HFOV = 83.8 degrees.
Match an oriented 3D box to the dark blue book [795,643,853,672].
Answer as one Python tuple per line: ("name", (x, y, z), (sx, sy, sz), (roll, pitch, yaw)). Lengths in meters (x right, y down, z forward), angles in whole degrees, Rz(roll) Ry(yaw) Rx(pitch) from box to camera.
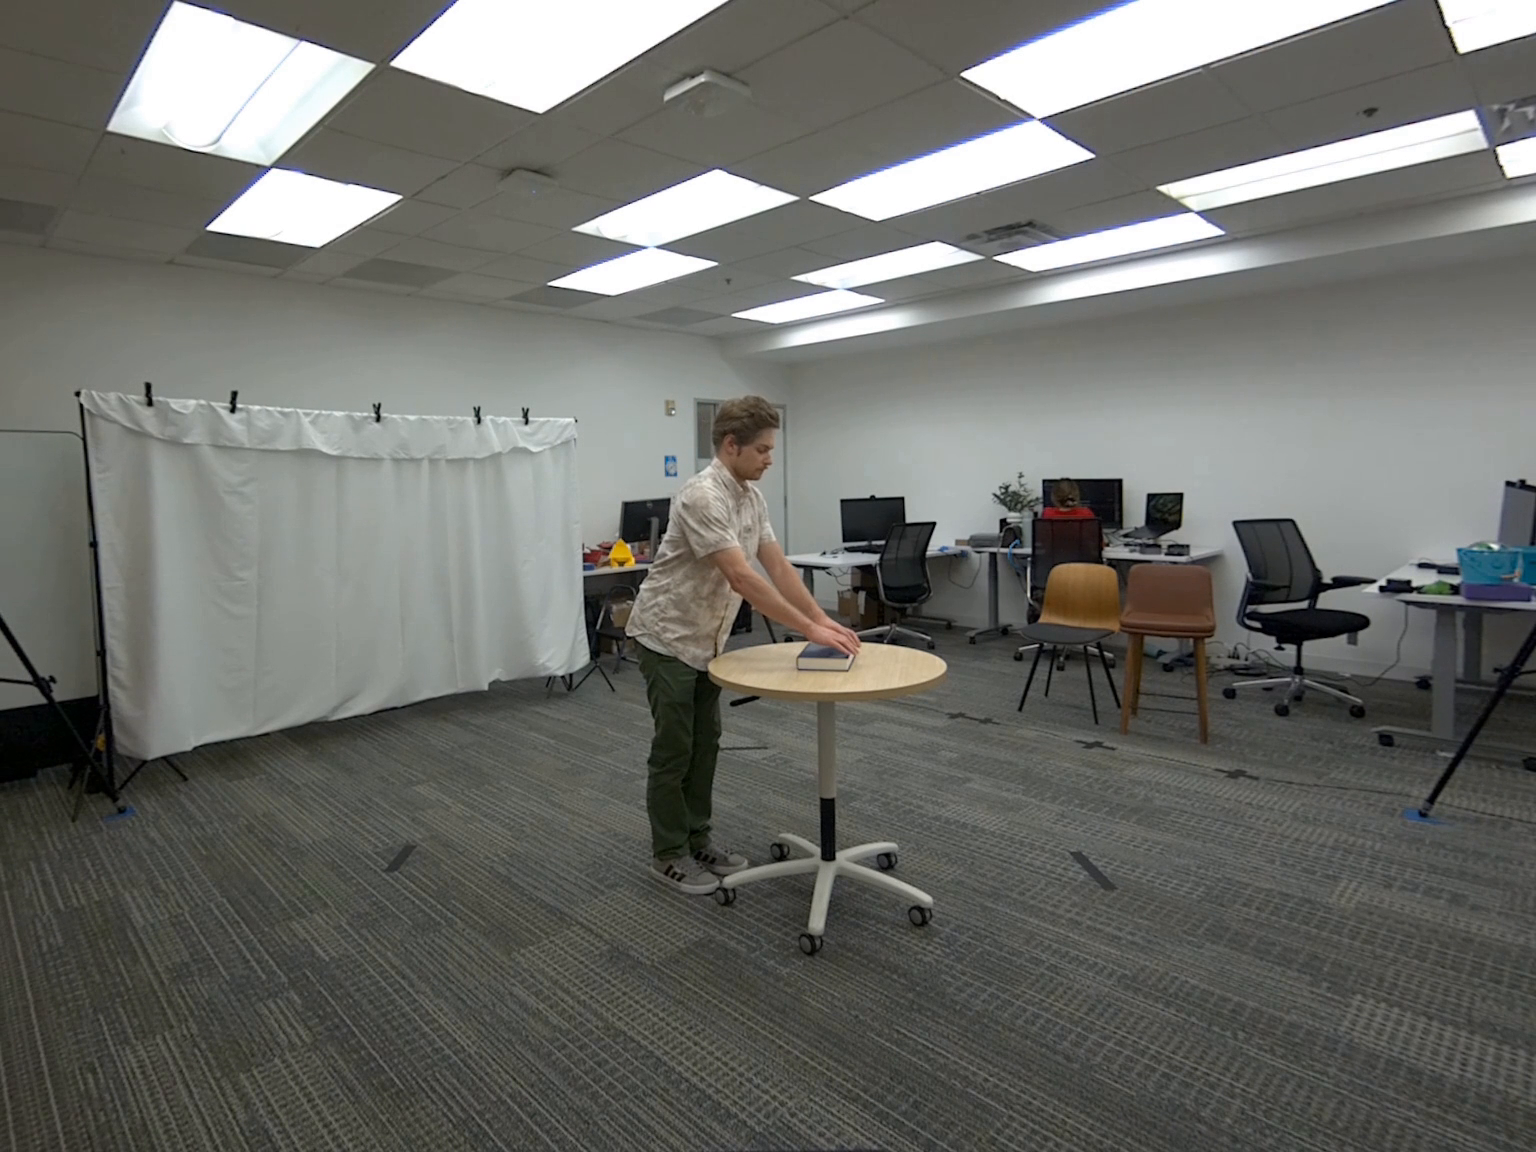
("dark blue book", (0.201, 0.260, 2.781), (0.165, 0.045, 0.243), (0, 7, 12))
